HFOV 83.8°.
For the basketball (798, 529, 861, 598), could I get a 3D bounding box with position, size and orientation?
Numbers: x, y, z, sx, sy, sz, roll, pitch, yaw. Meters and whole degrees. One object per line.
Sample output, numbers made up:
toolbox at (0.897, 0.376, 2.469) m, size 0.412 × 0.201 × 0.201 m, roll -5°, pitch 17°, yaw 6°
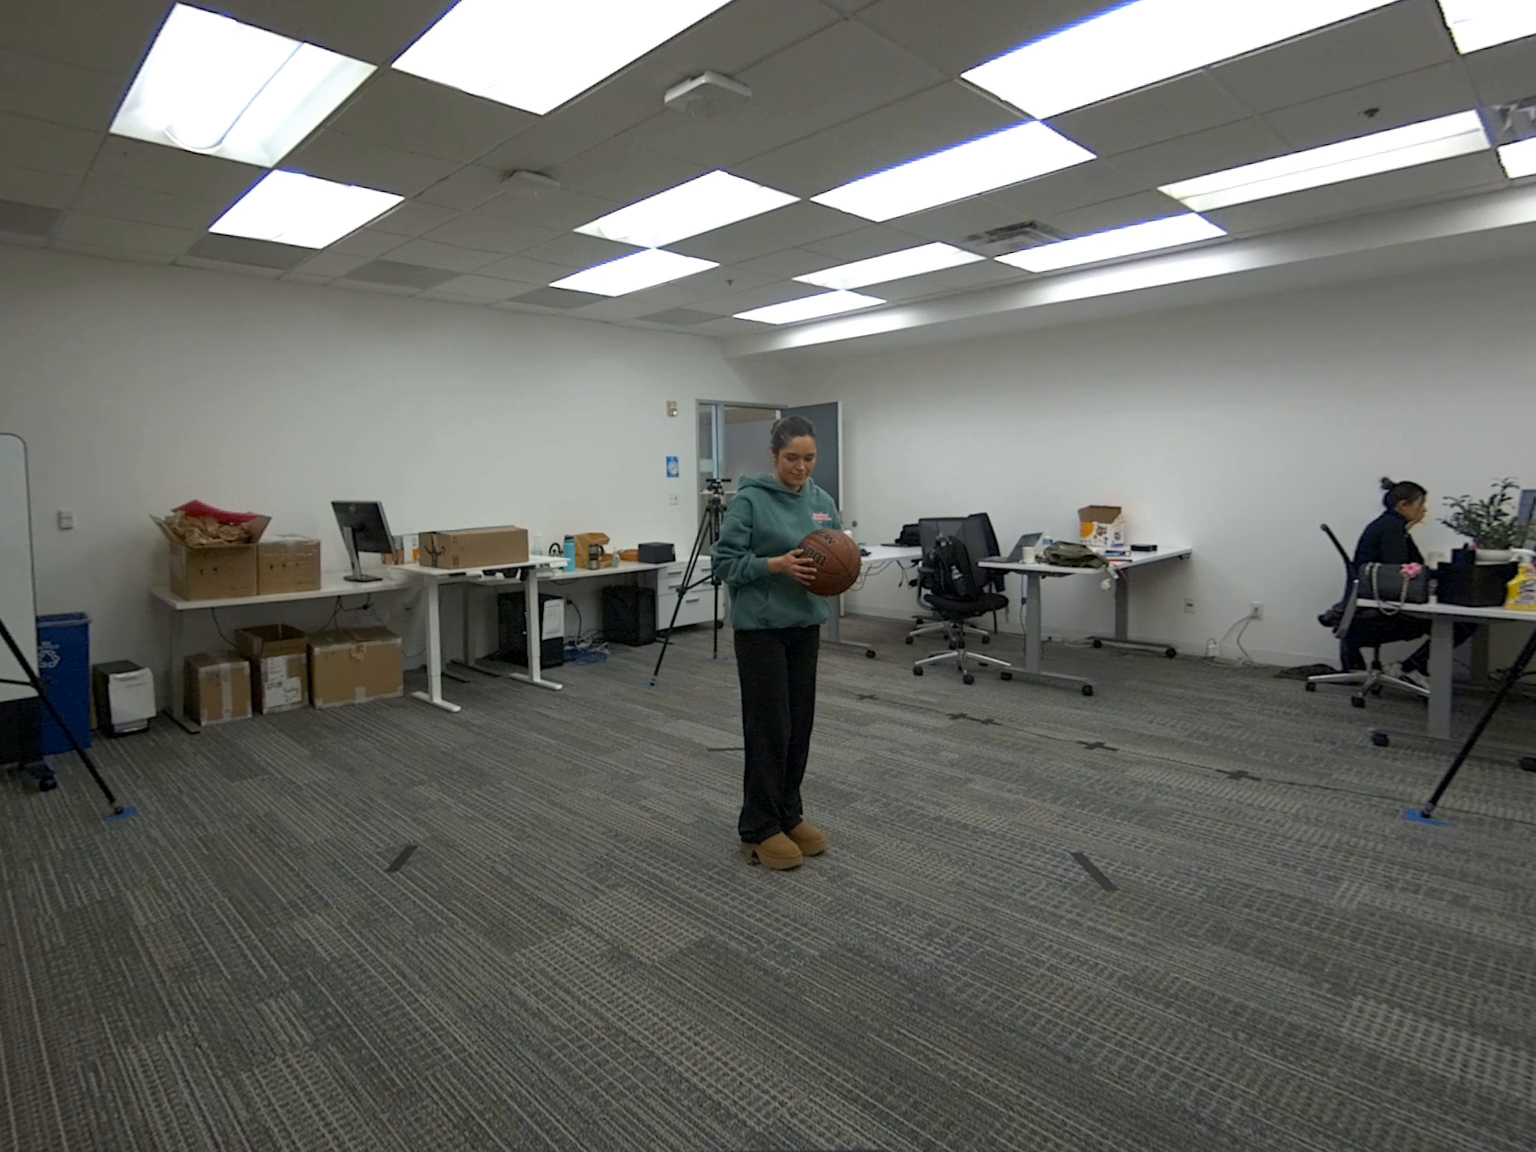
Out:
basketball at (0.198, -0.046, 2.982) m, size 0.236 × 0.235 × 0.237 m, roll -1°, pitch 5°, yaw -2°
